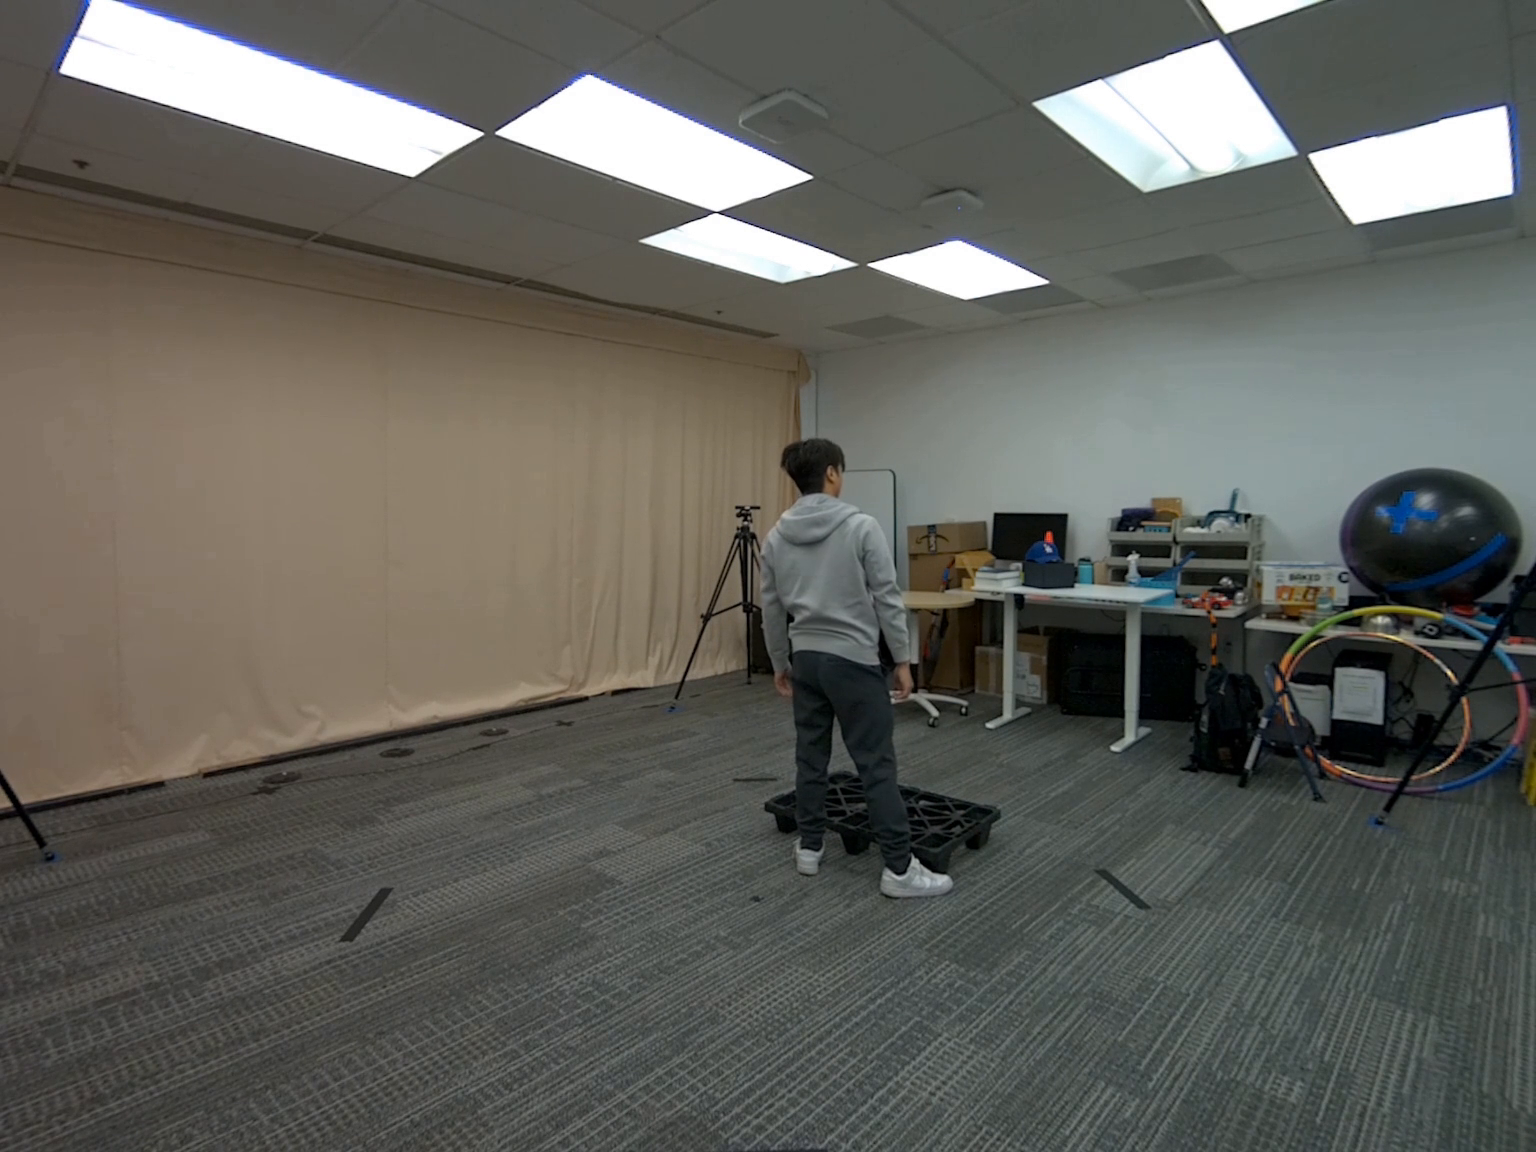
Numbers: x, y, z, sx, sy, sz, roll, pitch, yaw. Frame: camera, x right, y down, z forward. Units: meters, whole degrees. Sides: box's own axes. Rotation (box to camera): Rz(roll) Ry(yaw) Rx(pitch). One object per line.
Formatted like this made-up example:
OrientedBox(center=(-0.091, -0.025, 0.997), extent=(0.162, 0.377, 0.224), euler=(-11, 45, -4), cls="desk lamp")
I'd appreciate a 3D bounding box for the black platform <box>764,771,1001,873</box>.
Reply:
OrientedBox(center=(0.477, 1.033, 3.535), extent=(0.832, 0.143, 0.587), euler=(3, 6, 39), cls="black platform")
